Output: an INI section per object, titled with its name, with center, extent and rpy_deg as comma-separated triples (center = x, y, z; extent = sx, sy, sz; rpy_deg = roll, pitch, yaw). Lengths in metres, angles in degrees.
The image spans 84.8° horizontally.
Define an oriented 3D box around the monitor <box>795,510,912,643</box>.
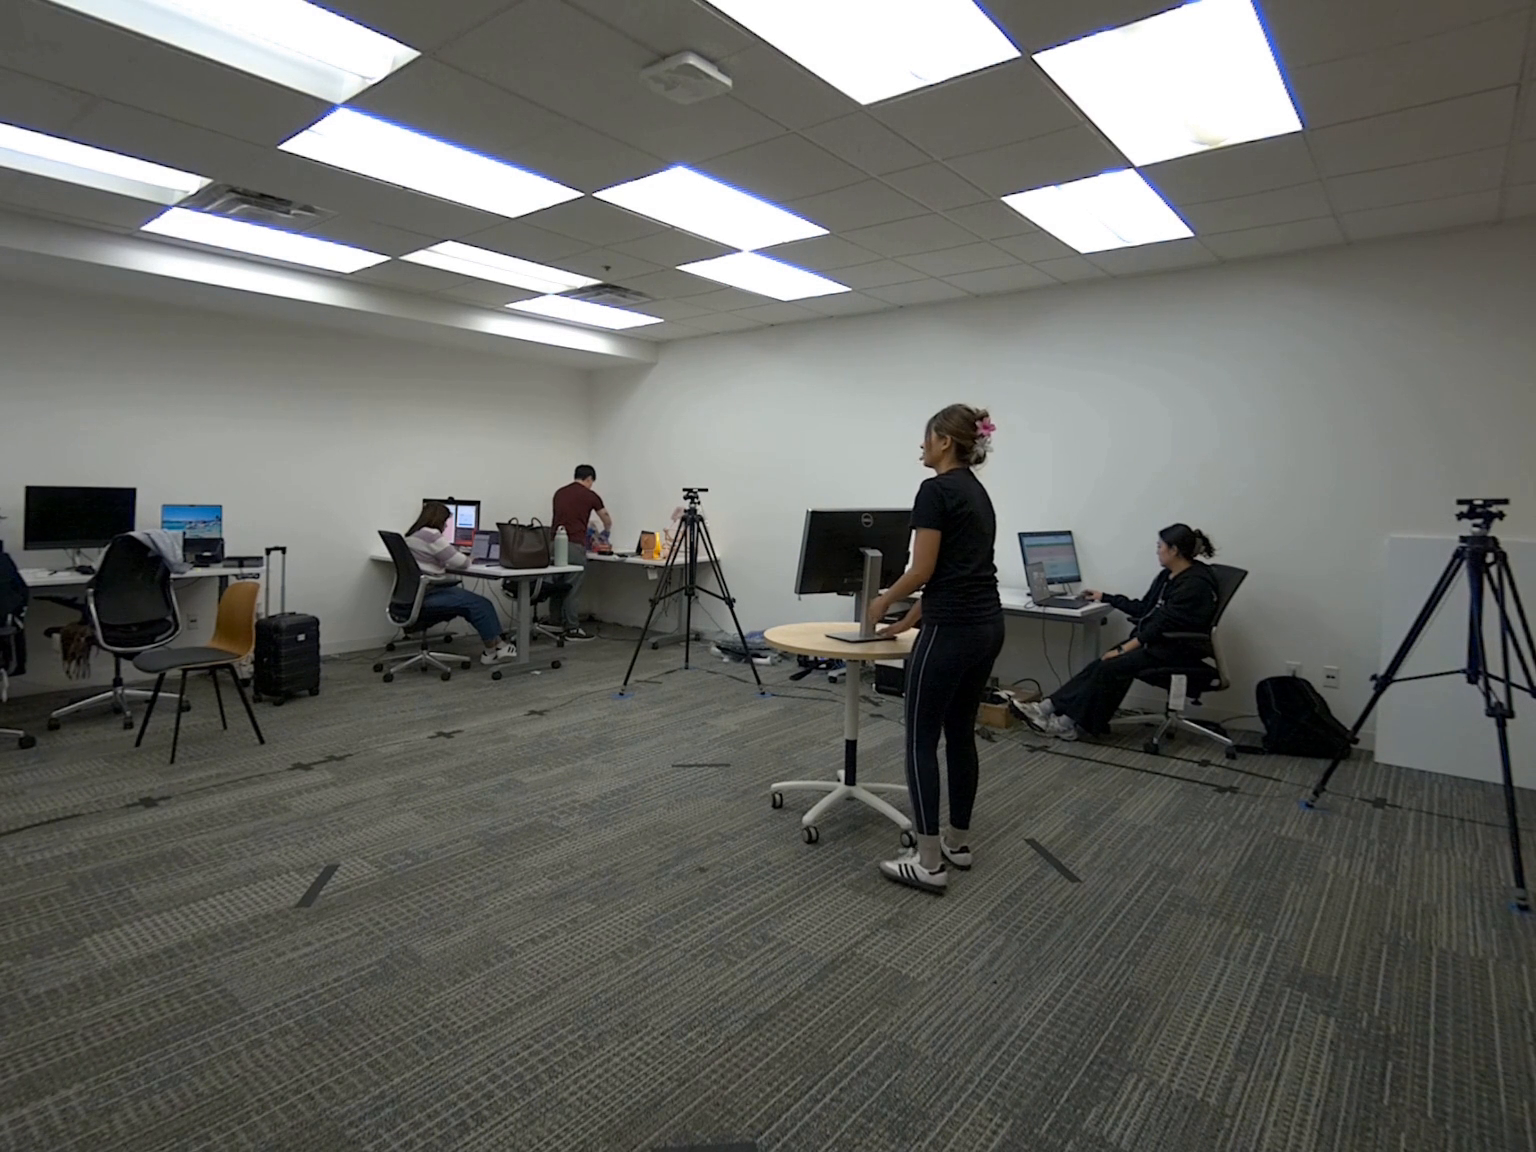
[monitor]
center = 0.385, -0.012, 3.558
extent = 0.524, 0.521, 0.193
rpy_deg = -3, 5, -32
